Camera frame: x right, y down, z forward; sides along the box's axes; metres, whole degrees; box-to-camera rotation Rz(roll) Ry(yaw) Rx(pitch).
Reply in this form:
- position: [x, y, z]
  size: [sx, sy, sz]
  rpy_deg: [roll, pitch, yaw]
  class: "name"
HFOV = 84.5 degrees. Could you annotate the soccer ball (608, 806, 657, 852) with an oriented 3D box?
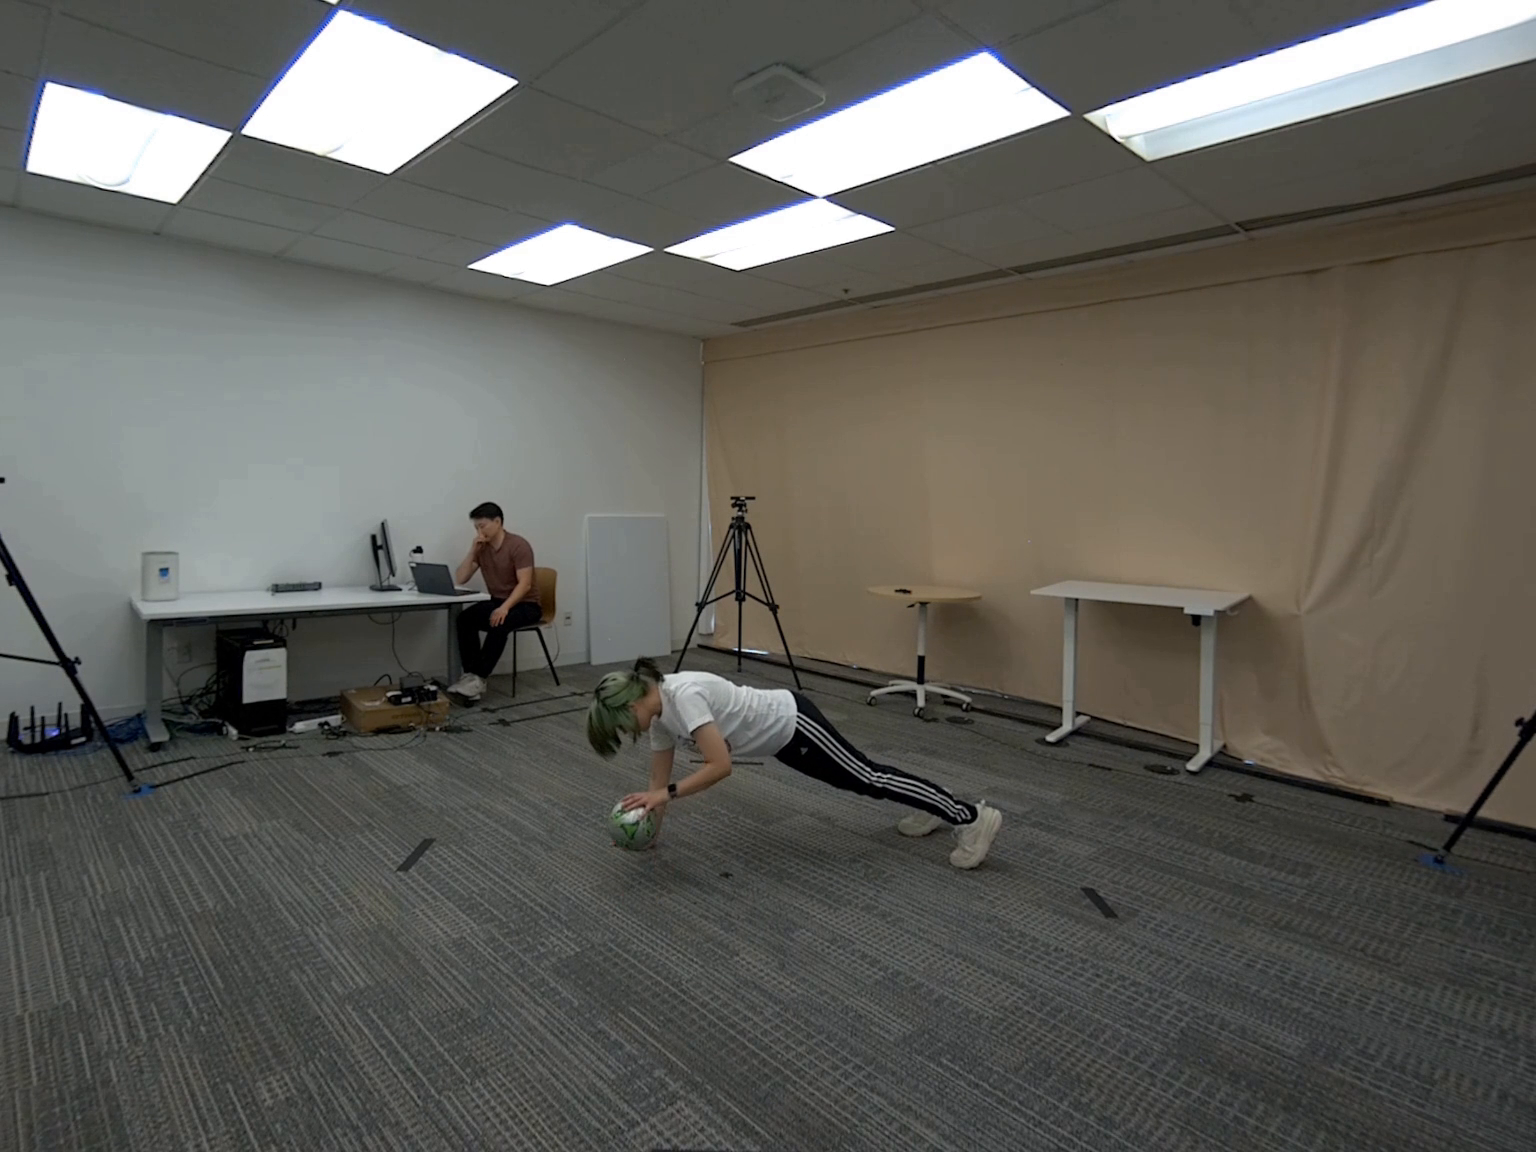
- position: [-0.499, 0.904, 3.061]
  size: [0.187, 0.187, 0.188]
  rpy_deg: [1, 4, -1]
  class: "soccer ball"
